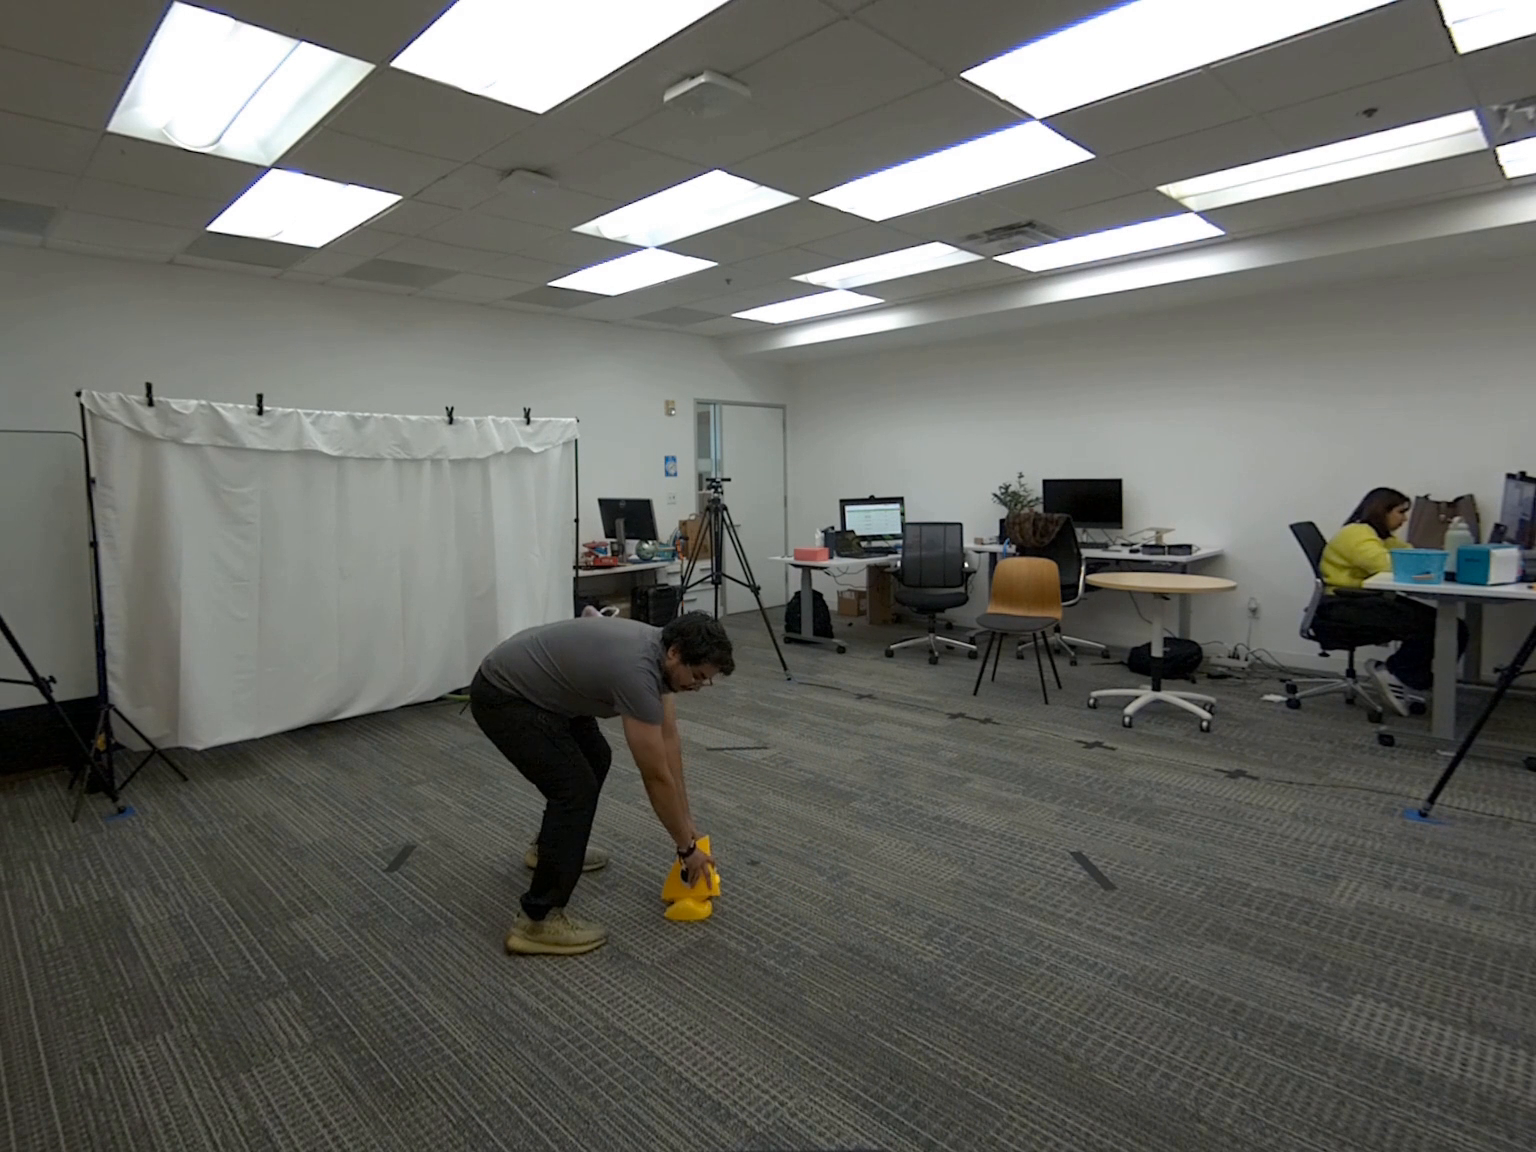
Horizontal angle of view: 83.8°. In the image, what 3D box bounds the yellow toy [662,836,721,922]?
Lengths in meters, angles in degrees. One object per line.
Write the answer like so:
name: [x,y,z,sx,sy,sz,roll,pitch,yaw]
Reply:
yellow toy: [-0.253,0.969,2.804,0.192,0.230,0.206,-1,4,-5]
